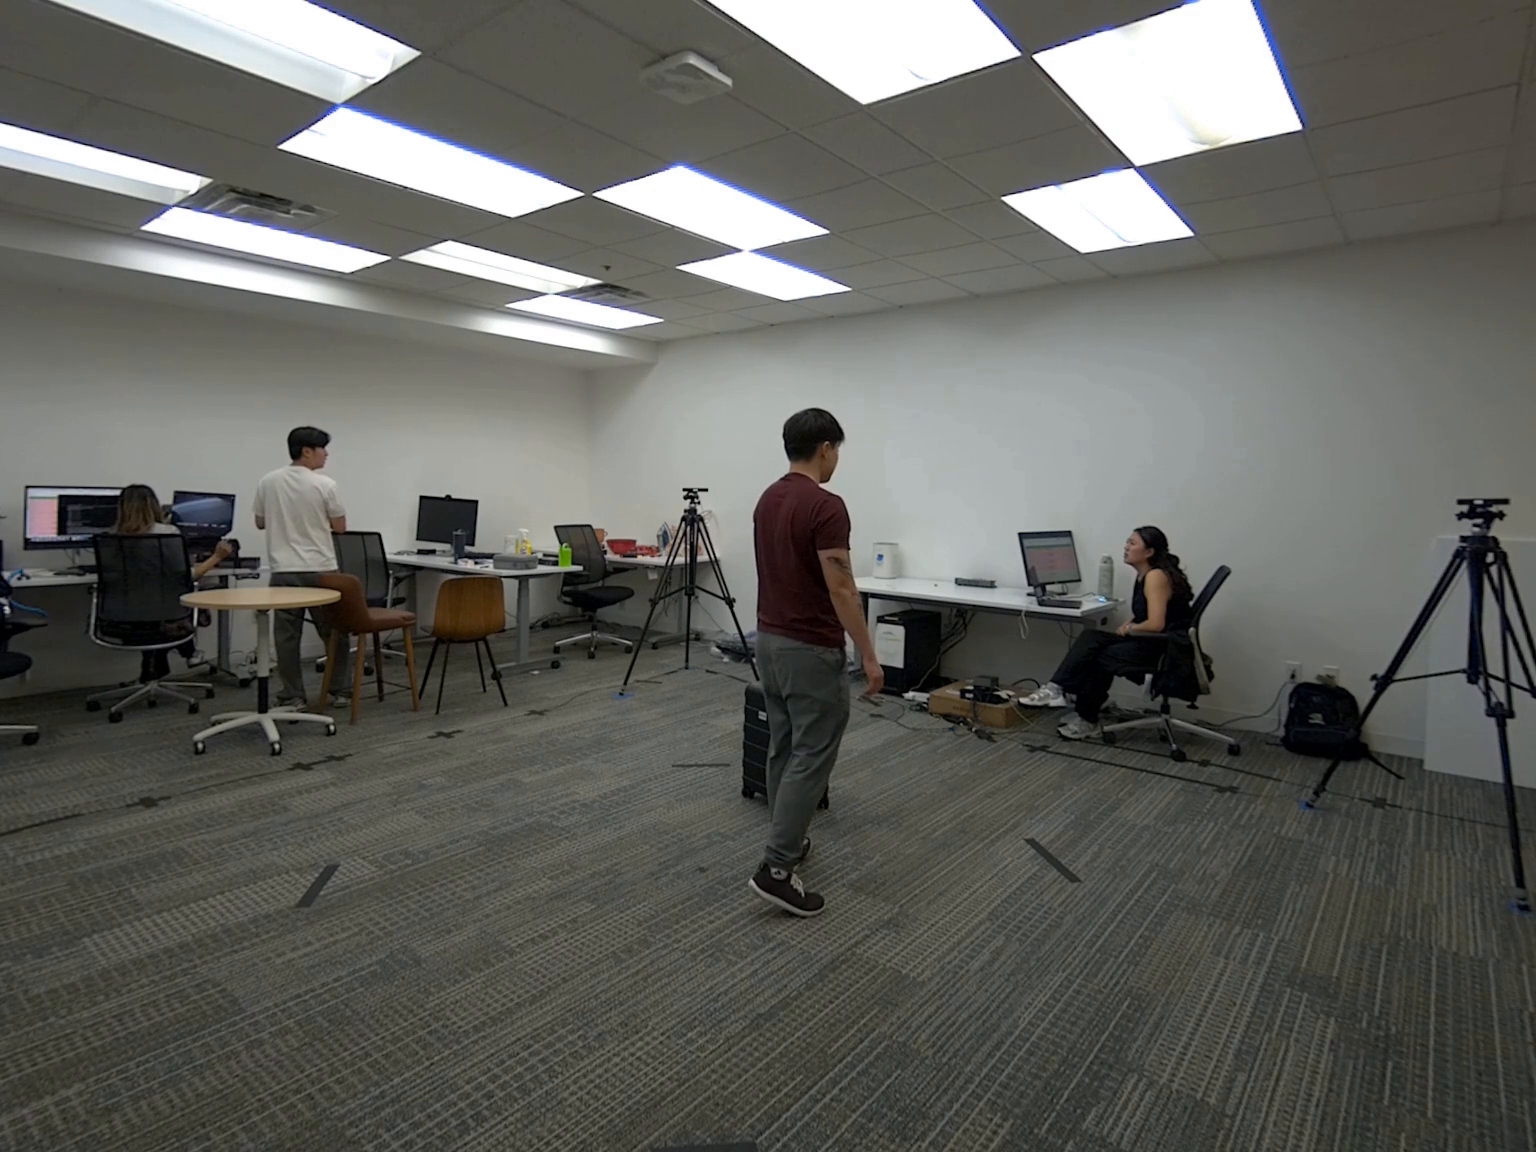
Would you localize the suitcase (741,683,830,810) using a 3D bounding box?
[{"bbox_3d":[0.070,0.532,3.762,0.250,0.974,0.397,-3,5,-36],"label":"suitcase"}]
